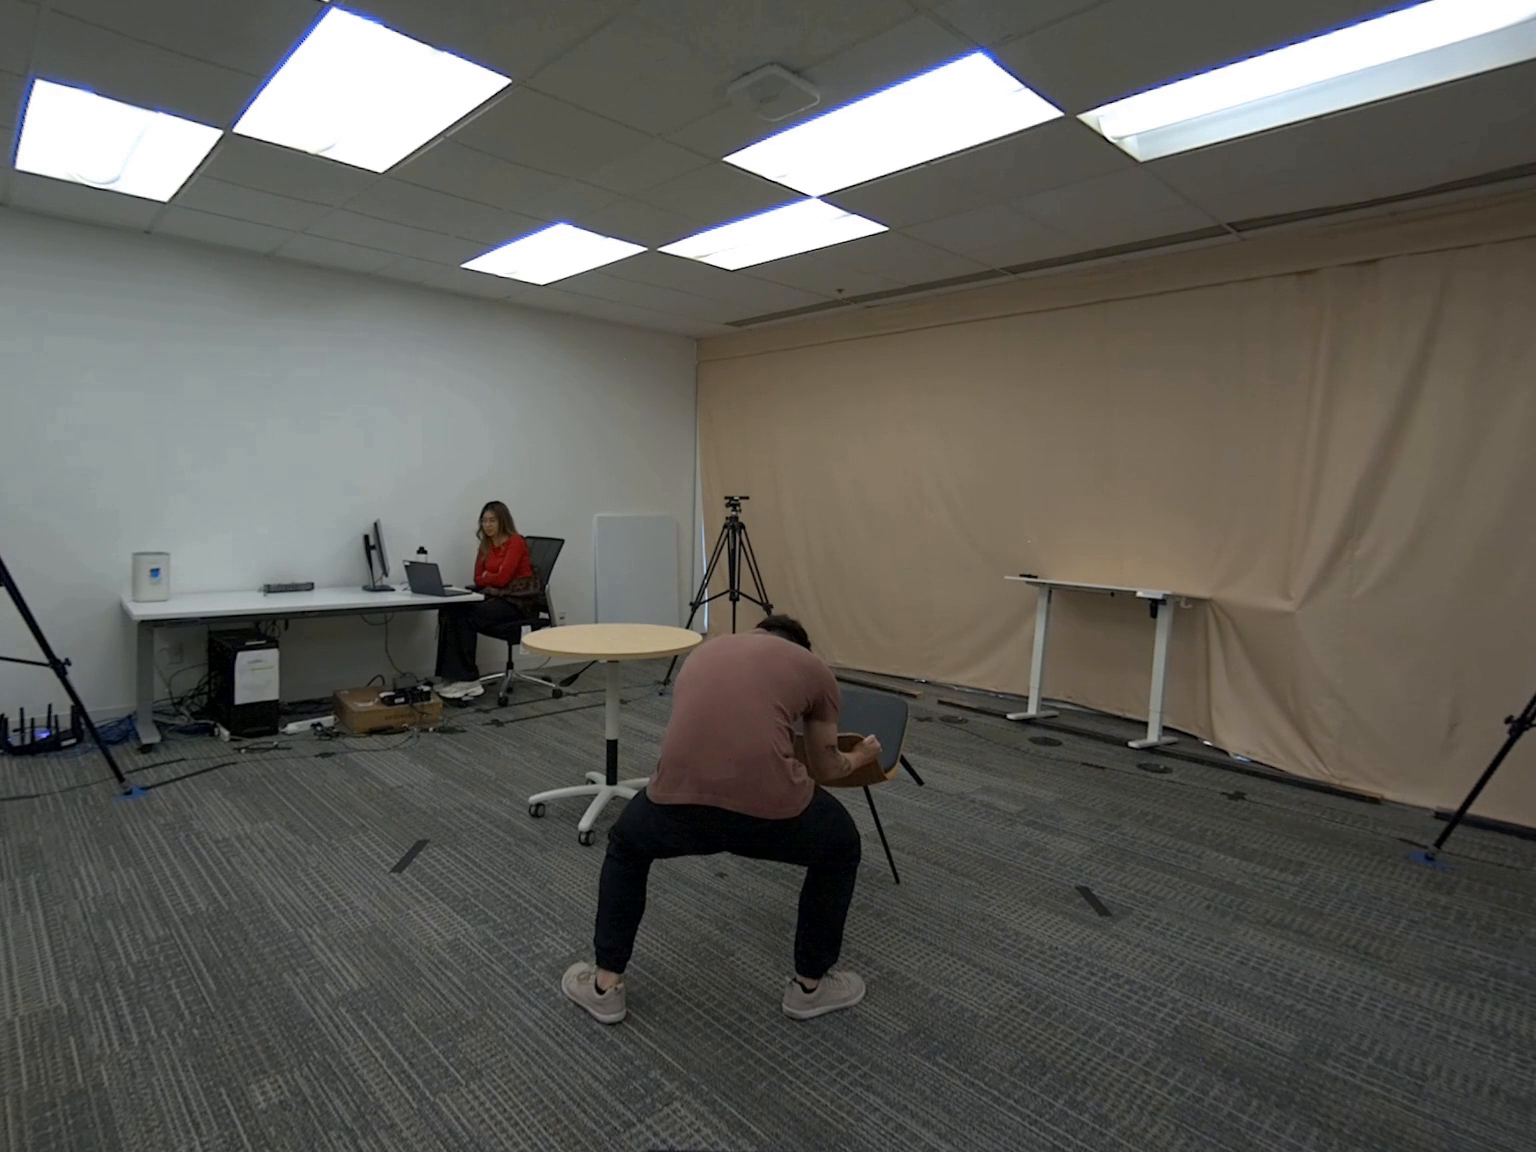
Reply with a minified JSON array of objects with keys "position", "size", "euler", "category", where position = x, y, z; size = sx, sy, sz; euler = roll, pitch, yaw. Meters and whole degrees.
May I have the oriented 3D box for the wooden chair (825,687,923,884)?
[{"position":[0.259,0.629,3.083],"size":[0.487,0.853,0.527],"euler":[4,44,24],"category":"wooden chair"}]
